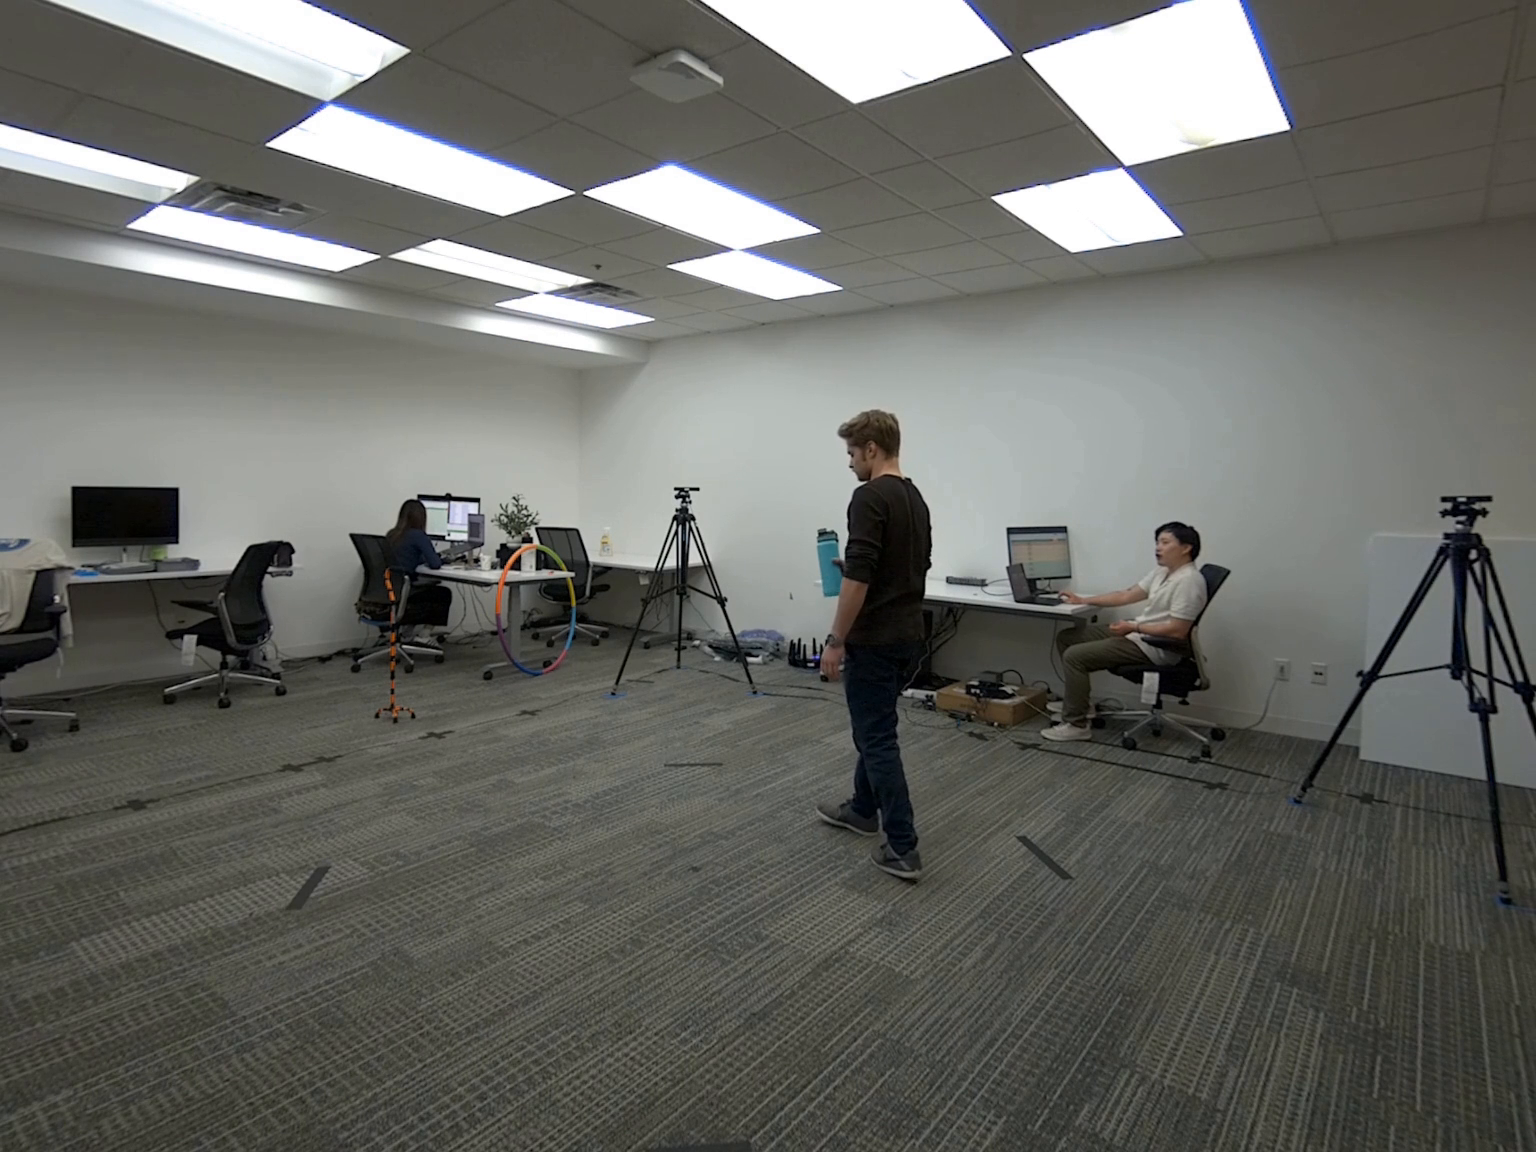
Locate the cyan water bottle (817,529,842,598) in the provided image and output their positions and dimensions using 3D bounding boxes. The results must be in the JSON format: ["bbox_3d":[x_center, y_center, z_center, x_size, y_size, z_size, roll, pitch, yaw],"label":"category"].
[{"bbox_3d":[0.256,-0.064,3.561,0.092,0.285,0.092,-5,-5,-2],"label":"cyan water bottle"}]
